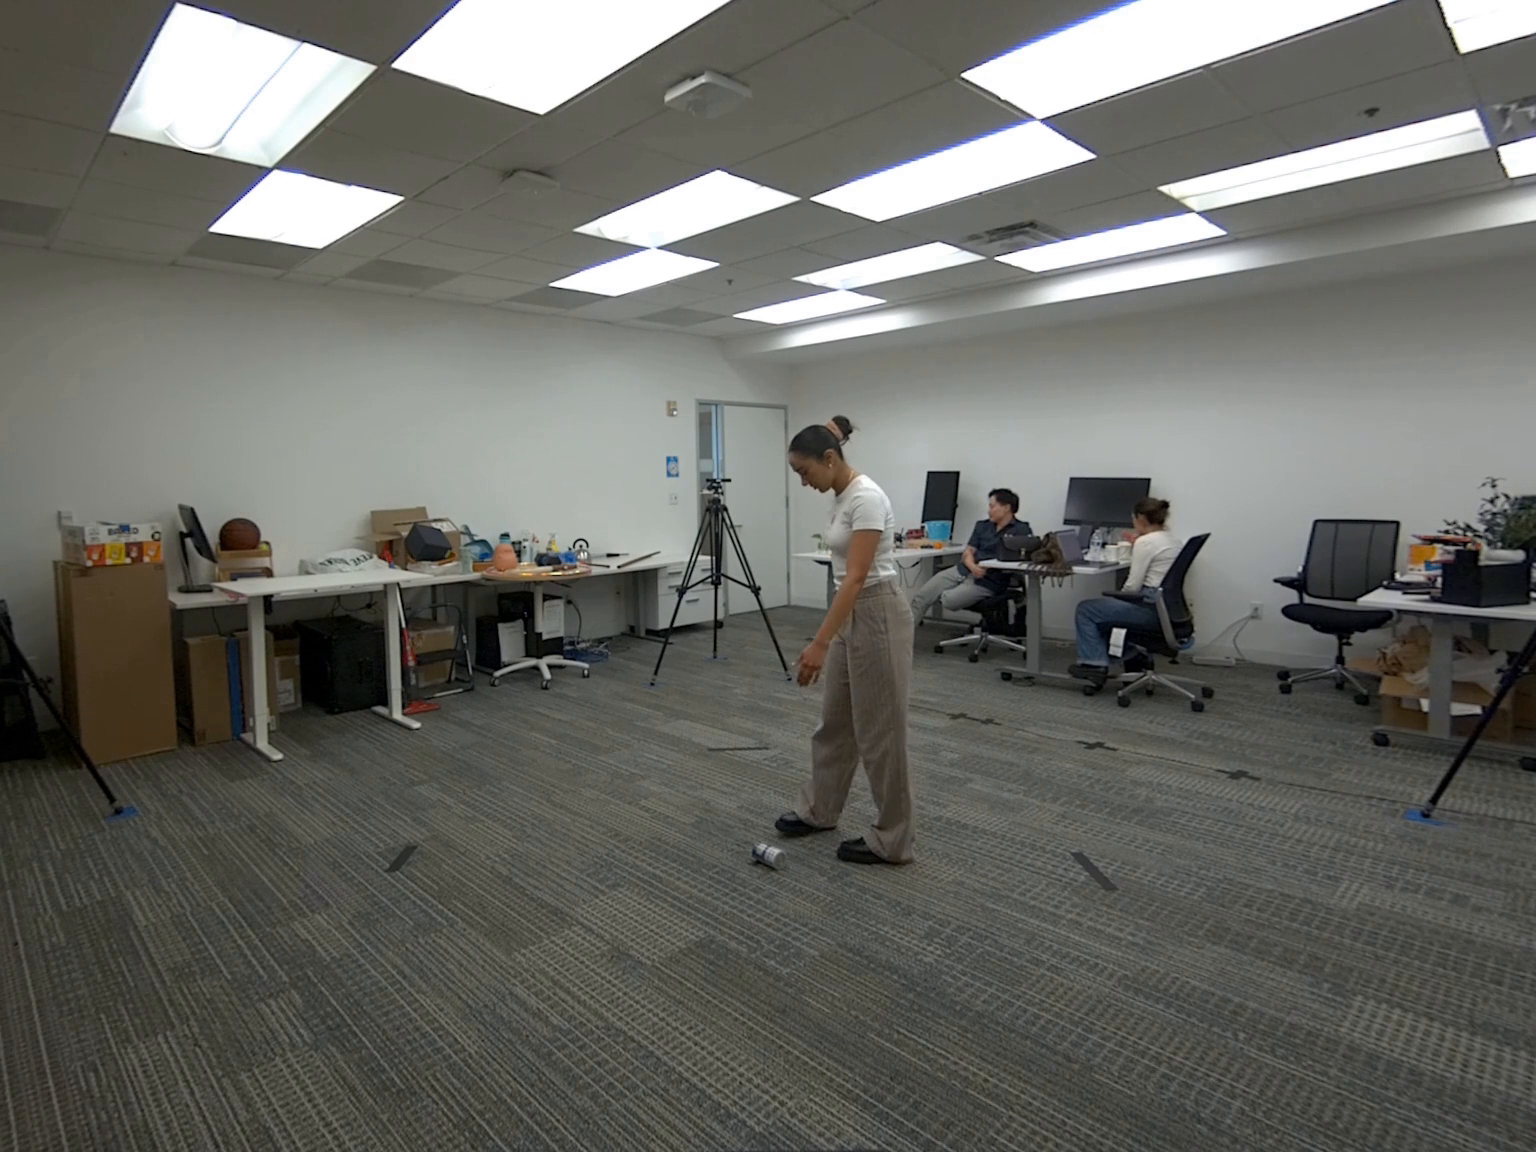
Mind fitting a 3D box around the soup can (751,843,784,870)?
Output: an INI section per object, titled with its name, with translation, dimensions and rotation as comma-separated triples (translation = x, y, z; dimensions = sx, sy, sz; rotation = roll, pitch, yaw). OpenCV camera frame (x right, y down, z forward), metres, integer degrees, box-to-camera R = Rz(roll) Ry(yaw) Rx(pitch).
[soup can]
translation = 0.008, 1.005, 3.095
dimensions = 0.065, 0.067, 0.125
rotation = -5, 5, -42
